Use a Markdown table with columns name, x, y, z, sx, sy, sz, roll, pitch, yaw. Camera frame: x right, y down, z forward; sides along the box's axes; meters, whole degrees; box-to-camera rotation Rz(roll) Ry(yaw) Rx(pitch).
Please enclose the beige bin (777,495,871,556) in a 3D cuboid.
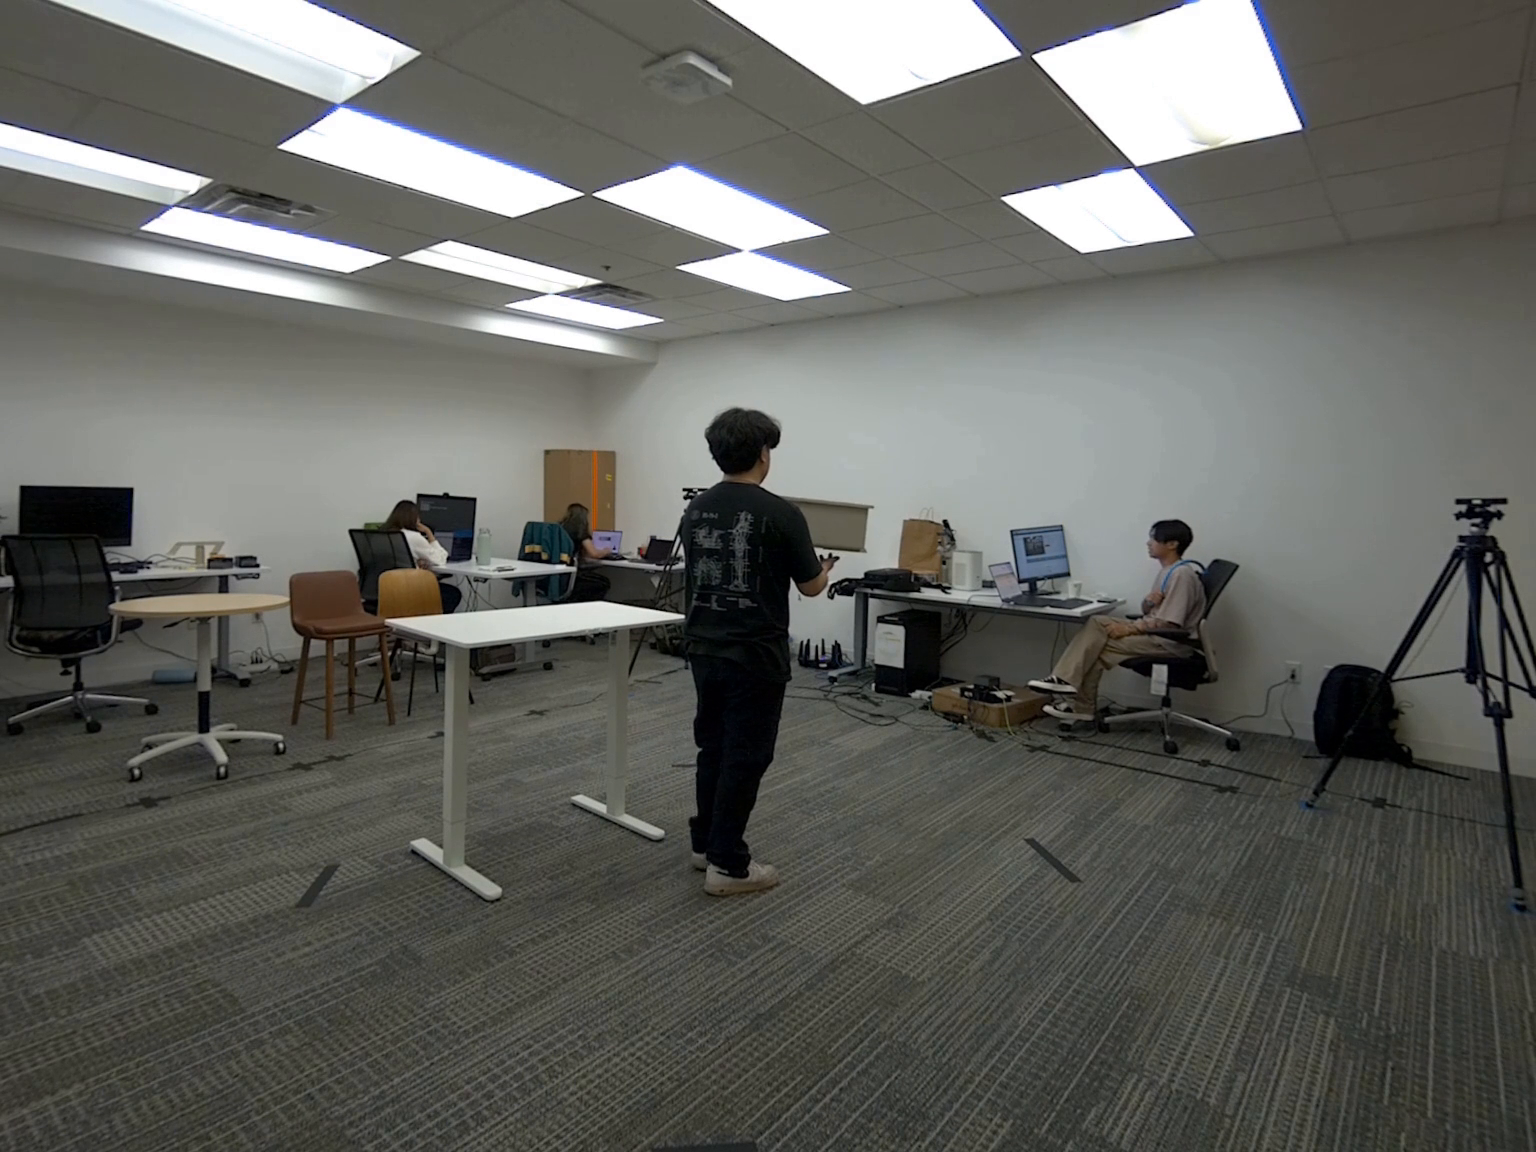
| name | x | y | z | sx | sy | sz | roll | pitch | yaw |
| --- | --- | --- | --- | --- | --- | --- | --- | --- | --- |
| beige bin | 0.110 | -0.203 | 3.277 | 0.413 | 0.189 | 0.386 | 4 | 3 | -21 |
